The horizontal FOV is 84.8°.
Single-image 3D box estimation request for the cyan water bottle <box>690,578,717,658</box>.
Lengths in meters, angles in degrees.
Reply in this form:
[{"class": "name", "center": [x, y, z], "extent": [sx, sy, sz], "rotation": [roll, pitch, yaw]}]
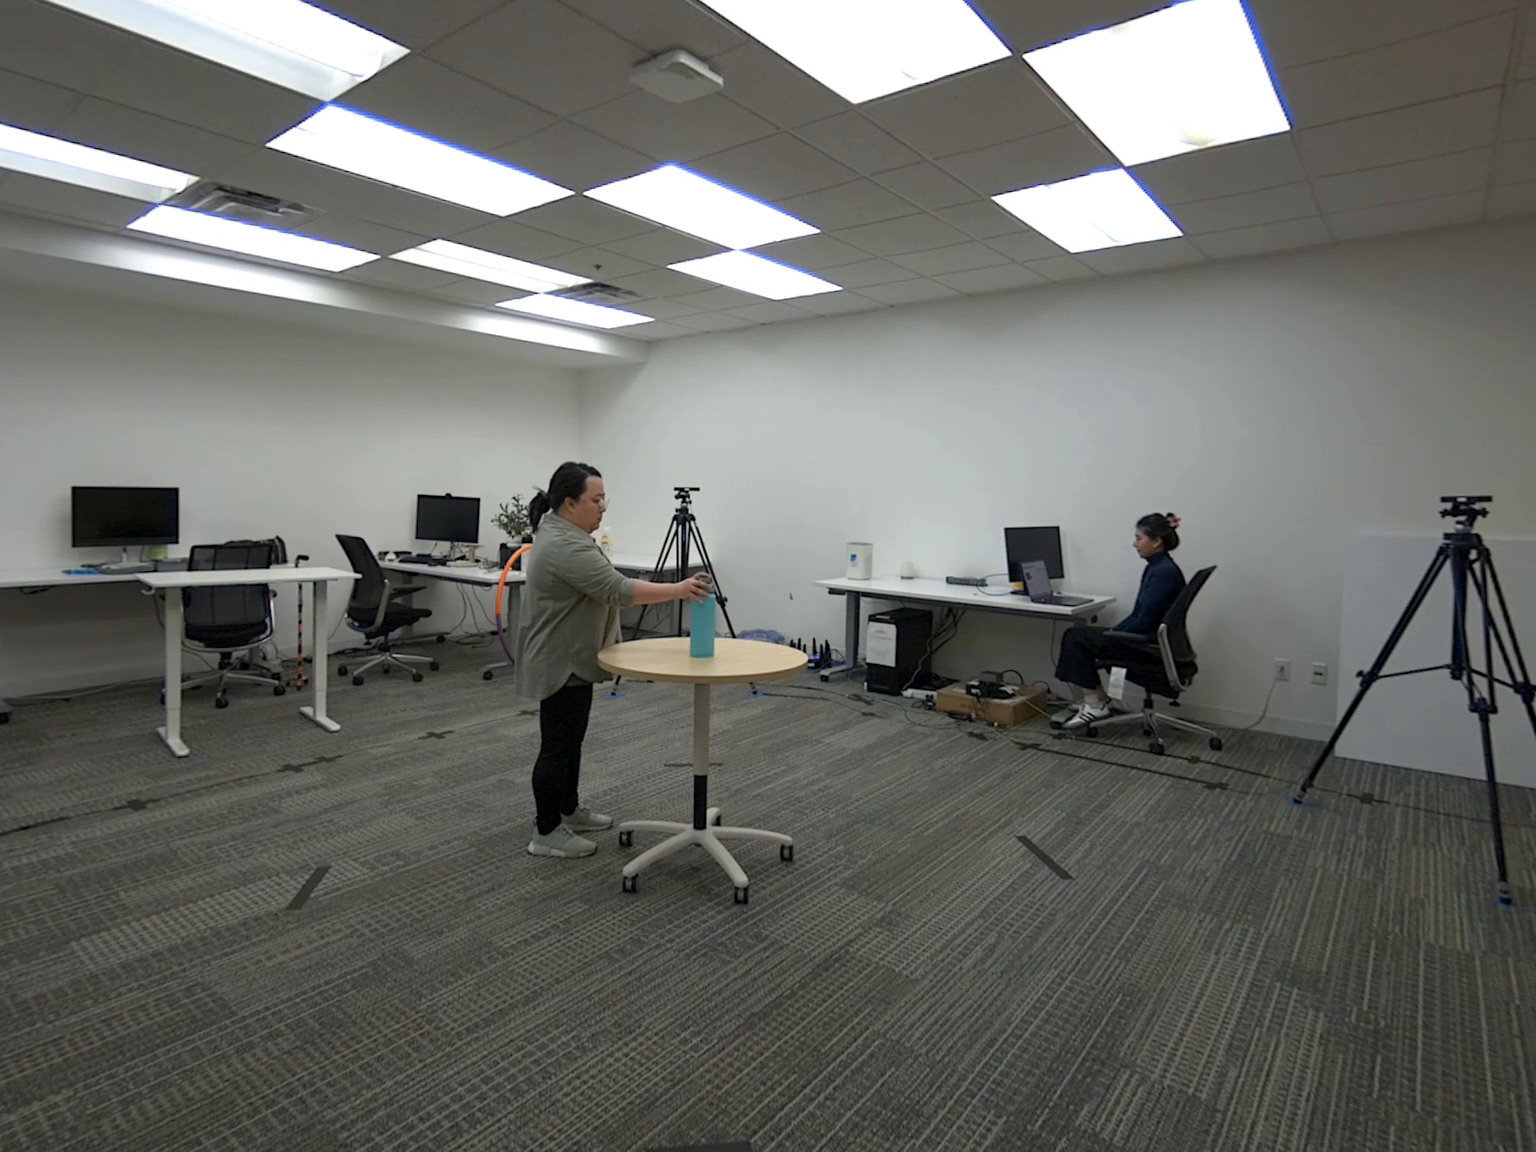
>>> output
[{"class": "cyan water bottle", "center": [-0.246, 0.149, 3.073], "extent": [0.092, 0.283, 0.093], "rotation": [2, 2, -2]}]
